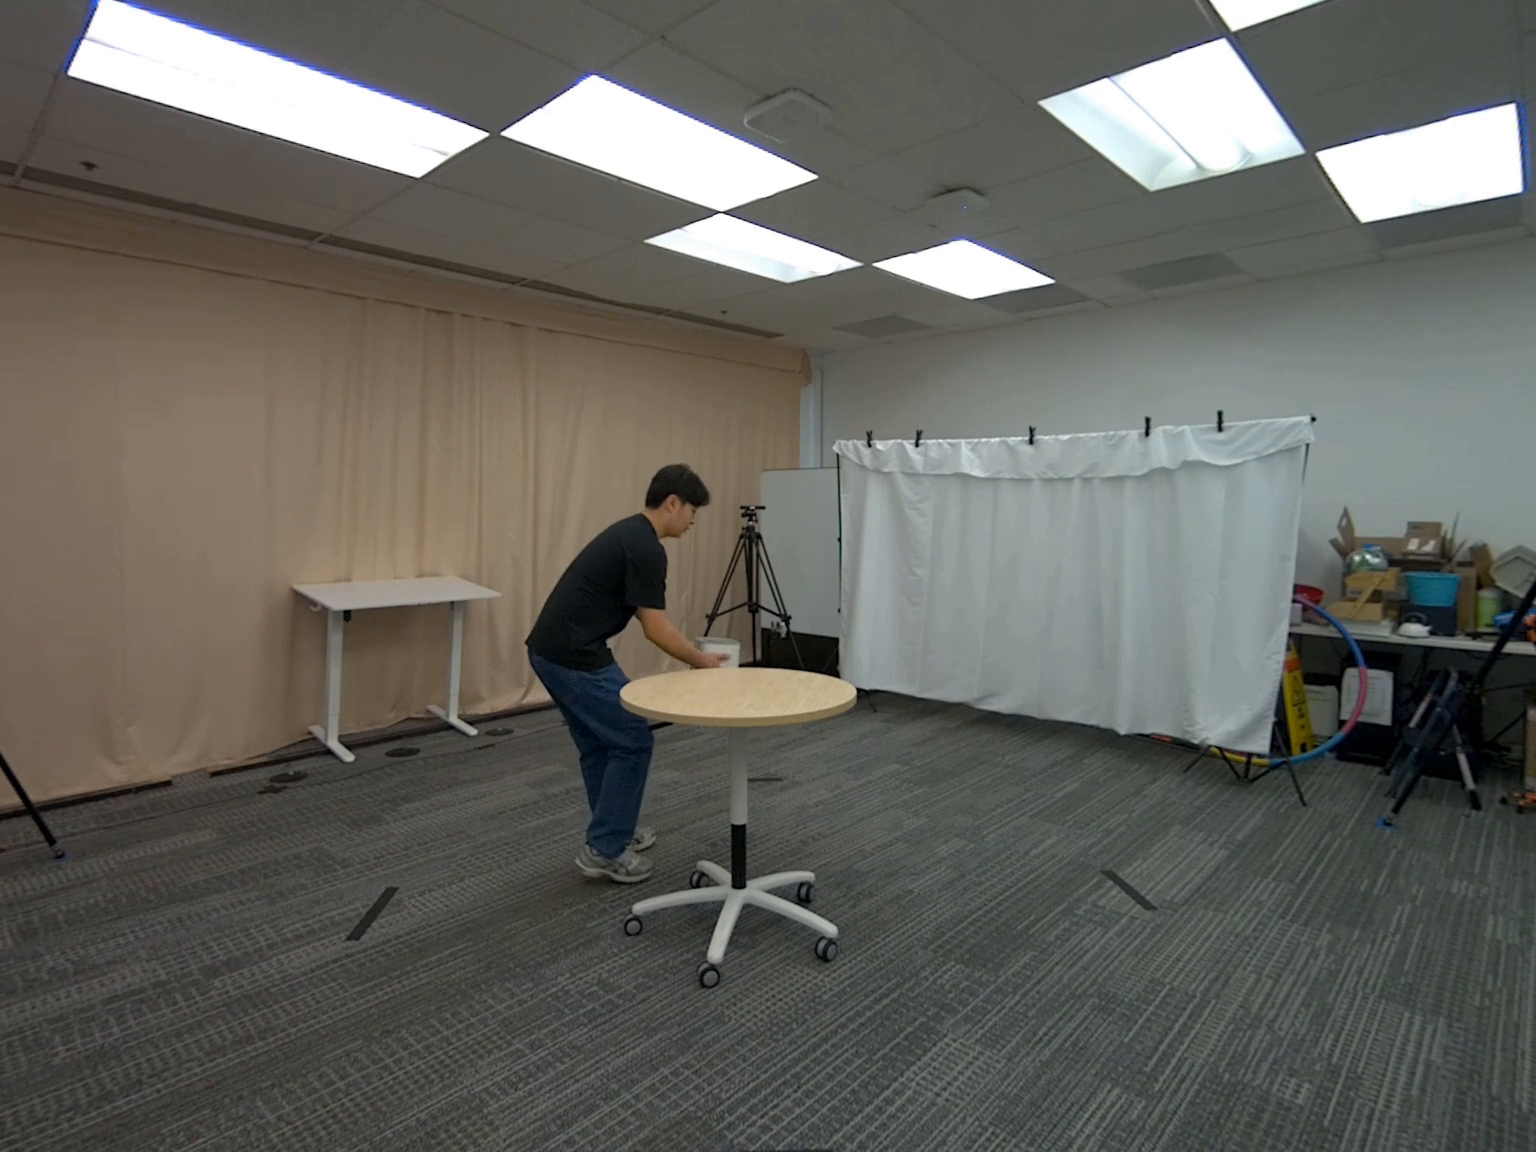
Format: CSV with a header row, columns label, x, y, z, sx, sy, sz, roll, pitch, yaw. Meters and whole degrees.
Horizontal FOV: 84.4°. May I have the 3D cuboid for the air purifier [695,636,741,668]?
label,x,y,z,sx,sy,sz,roll,pitch,yaw
air purifier,-0.218,0.396,3.374,0.168,0.265,0.174,4,2,-15
